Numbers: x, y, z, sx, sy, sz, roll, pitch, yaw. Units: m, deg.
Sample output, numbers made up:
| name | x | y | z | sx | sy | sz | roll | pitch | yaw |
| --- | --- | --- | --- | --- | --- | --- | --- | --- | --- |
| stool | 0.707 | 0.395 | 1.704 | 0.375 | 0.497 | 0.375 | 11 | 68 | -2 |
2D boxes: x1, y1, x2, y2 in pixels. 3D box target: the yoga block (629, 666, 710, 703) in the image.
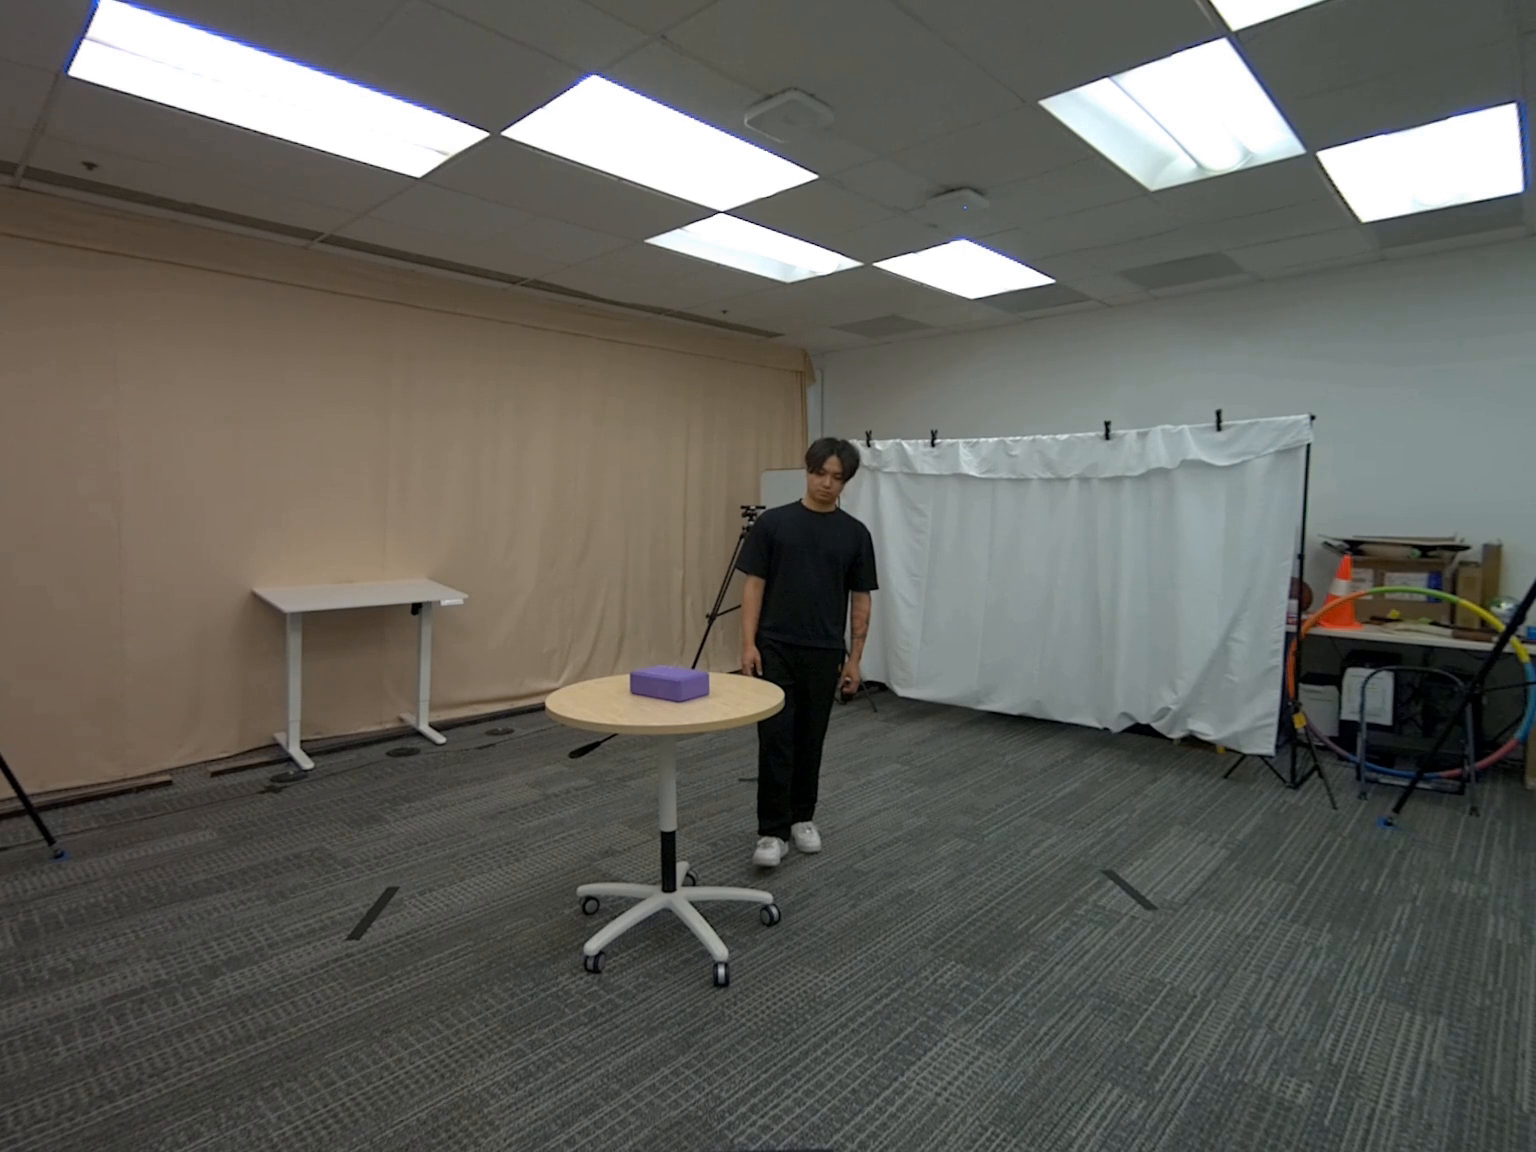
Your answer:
| name | x | y | z | sx | sy | sz | roll | pitch | yaw |
| --- | --- | --- | --- | --- | --- | --- | --- | --- | --- |
| yoga block | -0.317 | 0.346 | 2.719 | 0.237 | 0.076 | 0.144 | 3 | 6 | 38 |
